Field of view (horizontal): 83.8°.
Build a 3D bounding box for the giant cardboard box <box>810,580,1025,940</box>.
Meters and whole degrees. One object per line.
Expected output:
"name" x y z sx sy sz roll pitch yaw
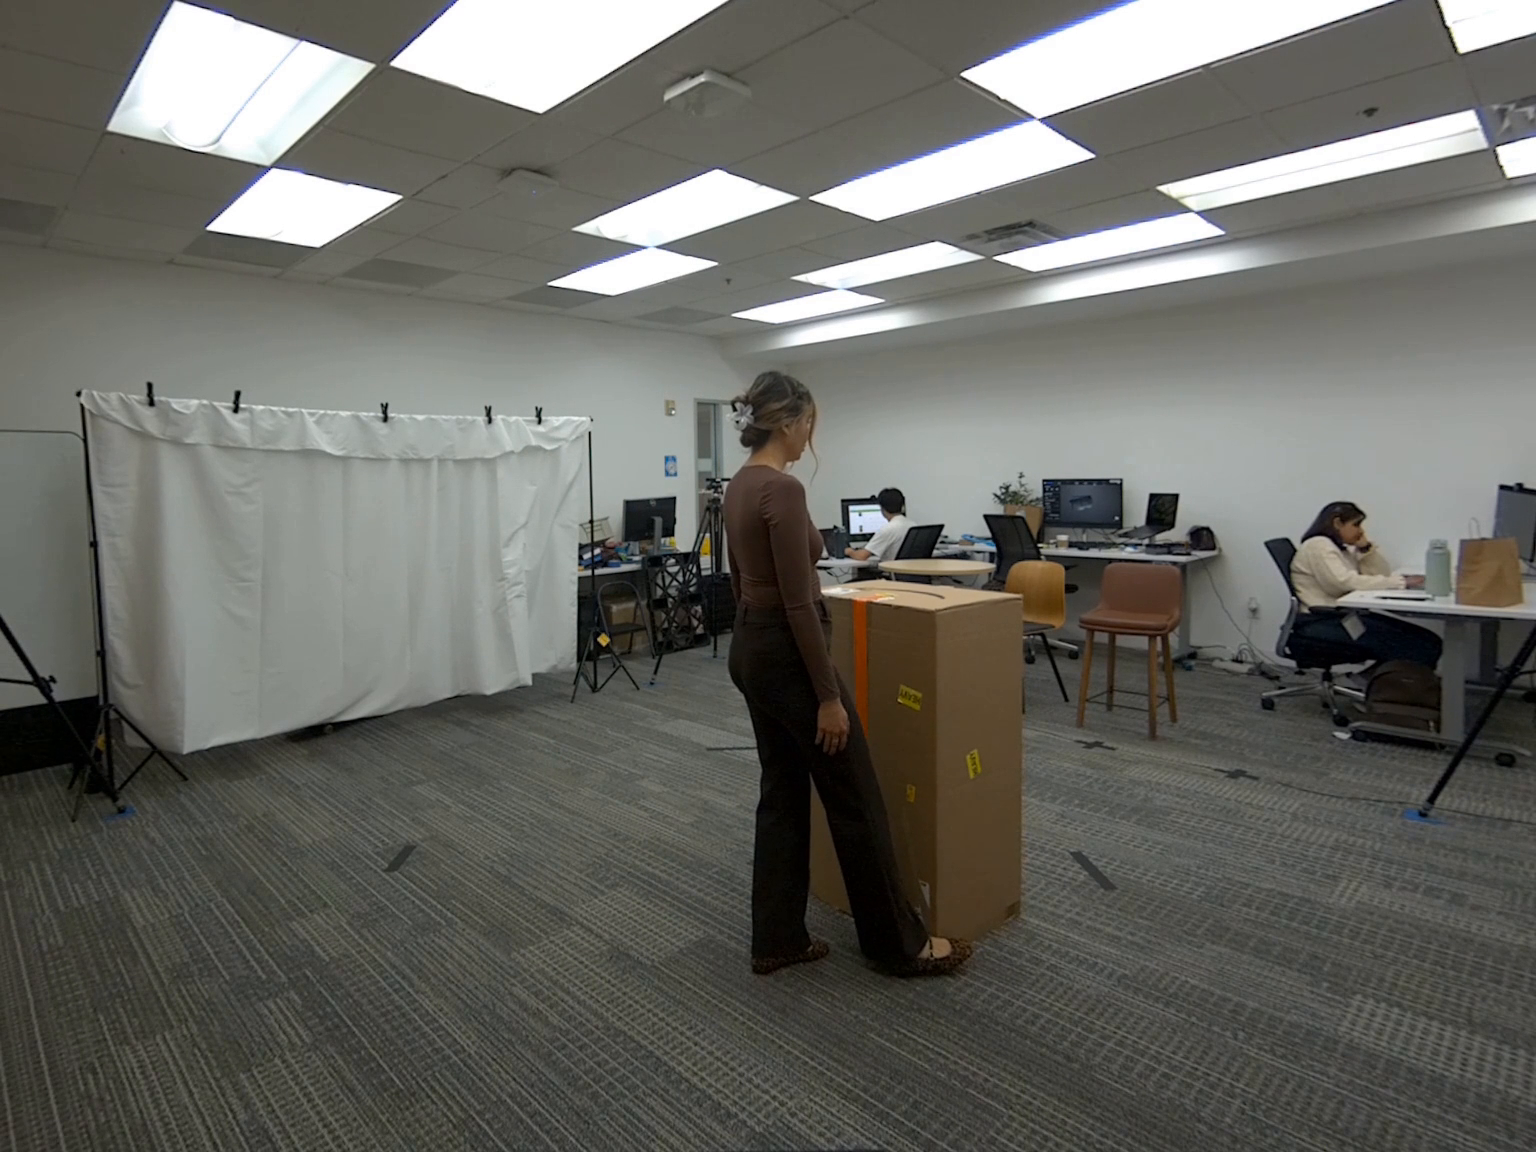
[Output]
"giant cardboard box" 0.454 0.560 2.778 0.435 1.023 0.601 -5 6 -38
